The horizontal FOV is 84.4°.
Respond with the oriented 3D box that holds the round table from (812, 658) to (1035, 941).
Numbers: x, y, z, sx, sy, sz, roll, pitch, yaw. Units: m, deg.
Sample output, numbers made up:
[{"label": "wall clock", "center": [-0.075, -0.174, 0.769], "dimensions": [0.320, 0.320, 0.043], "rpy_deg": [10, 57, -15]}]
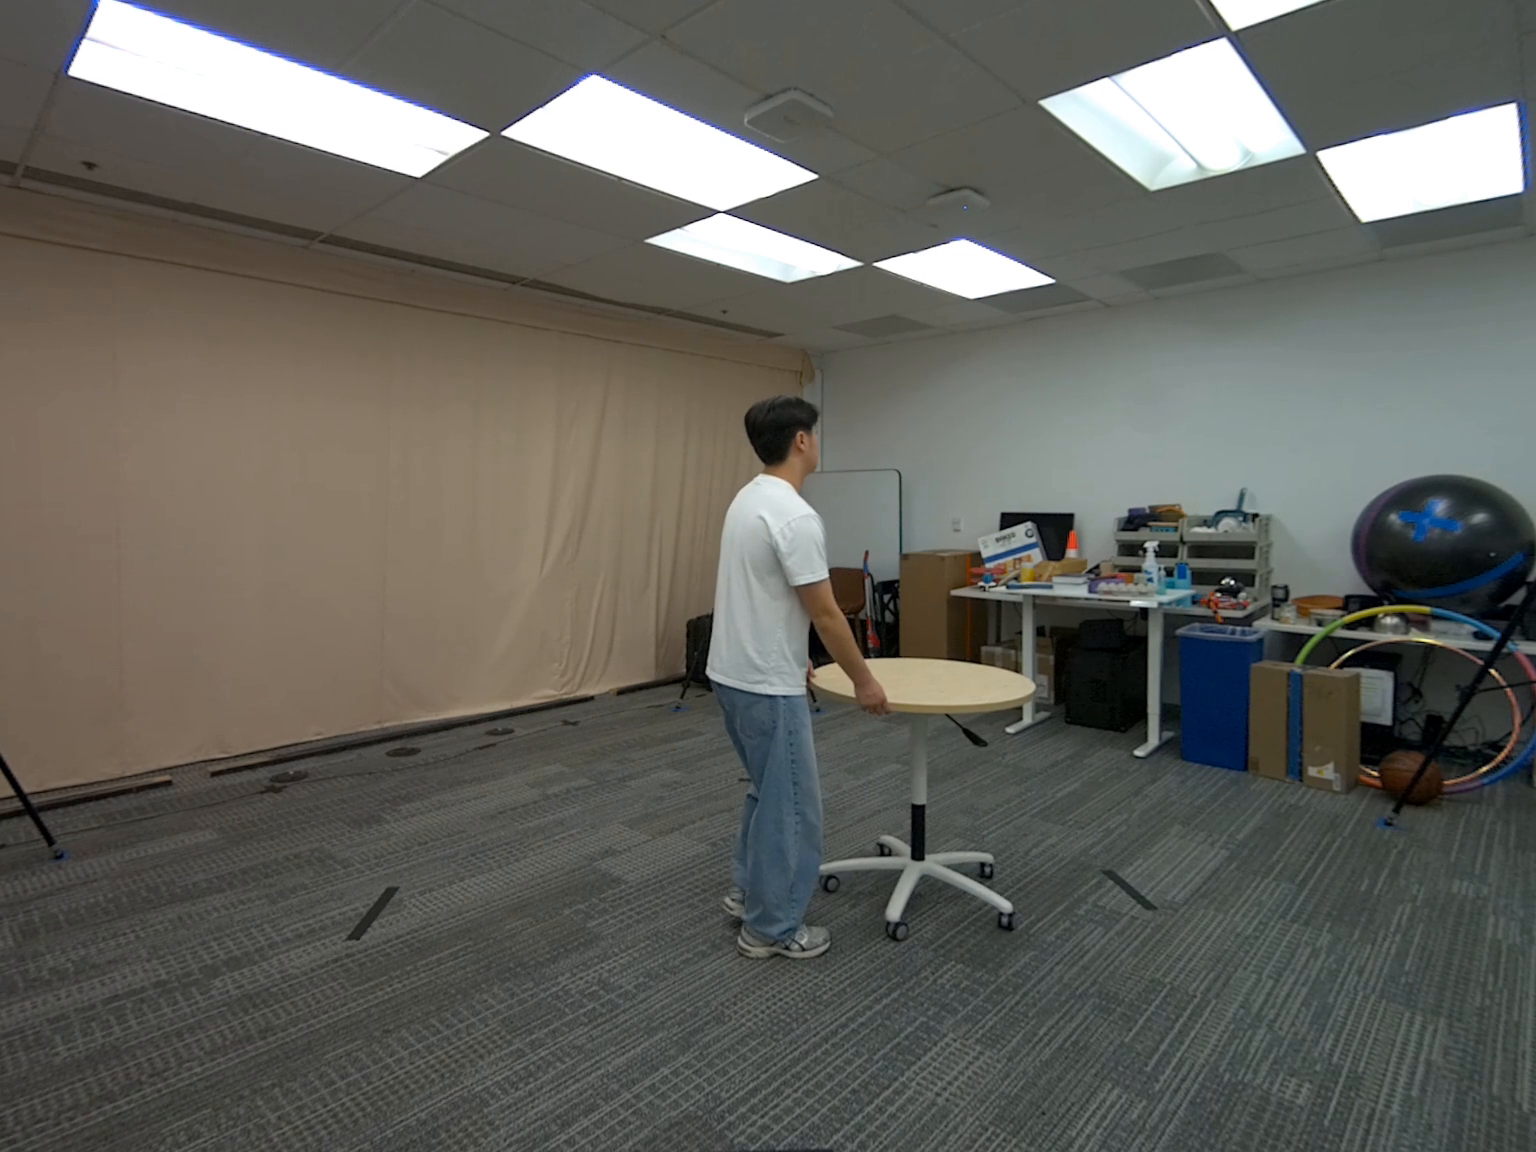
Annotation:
[{"label": "round table", "center": [0.528, 0.753, 2.972], "dimensions": [0.763, 0.792, 0.767], "rpy_deg": [0, 4, -2]}]
